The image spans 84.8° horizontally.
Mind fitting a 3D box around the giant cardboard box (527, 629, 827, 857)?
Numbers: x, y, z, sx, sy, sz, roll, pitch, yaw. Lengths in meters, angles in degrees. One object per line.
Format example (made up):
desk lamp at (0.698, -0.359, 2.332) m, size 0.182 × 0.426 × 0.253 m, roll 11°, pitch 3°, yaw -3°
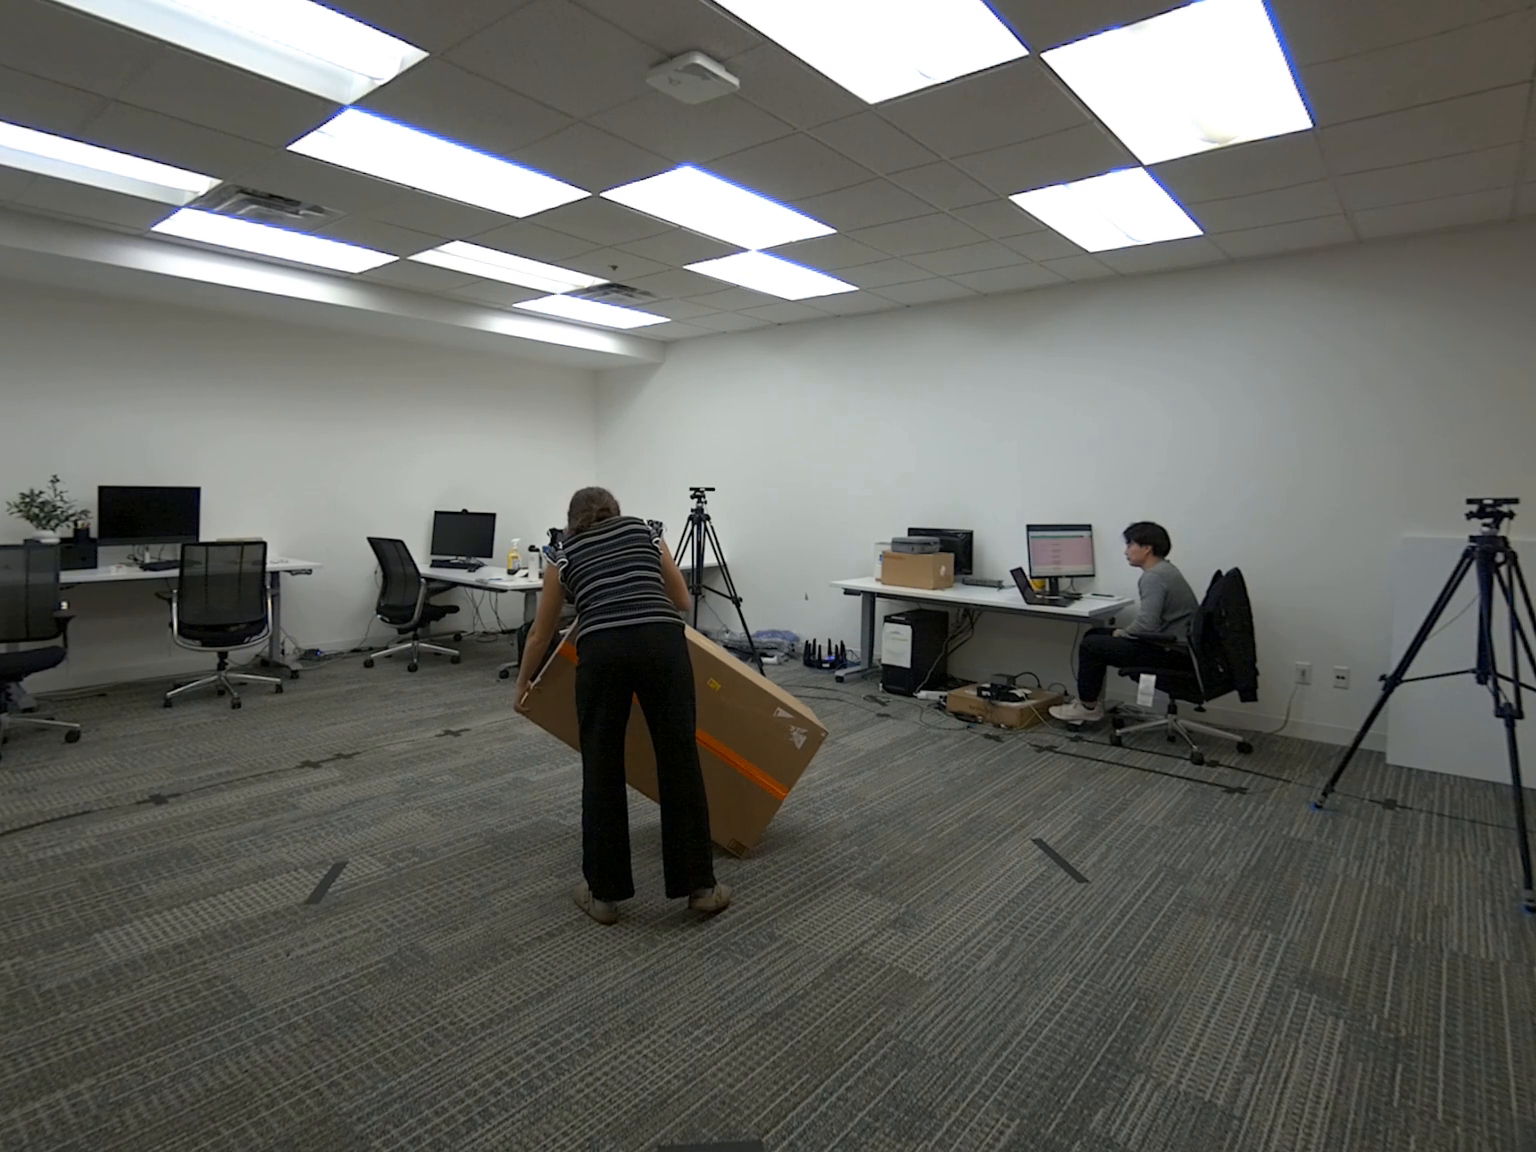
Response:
giant cardboard box at (-0.384, 0.521, 3.352) m, size 1.018 × 0.577 × 0.429 m, roll 34°, pitch -1°, yaw -6°
